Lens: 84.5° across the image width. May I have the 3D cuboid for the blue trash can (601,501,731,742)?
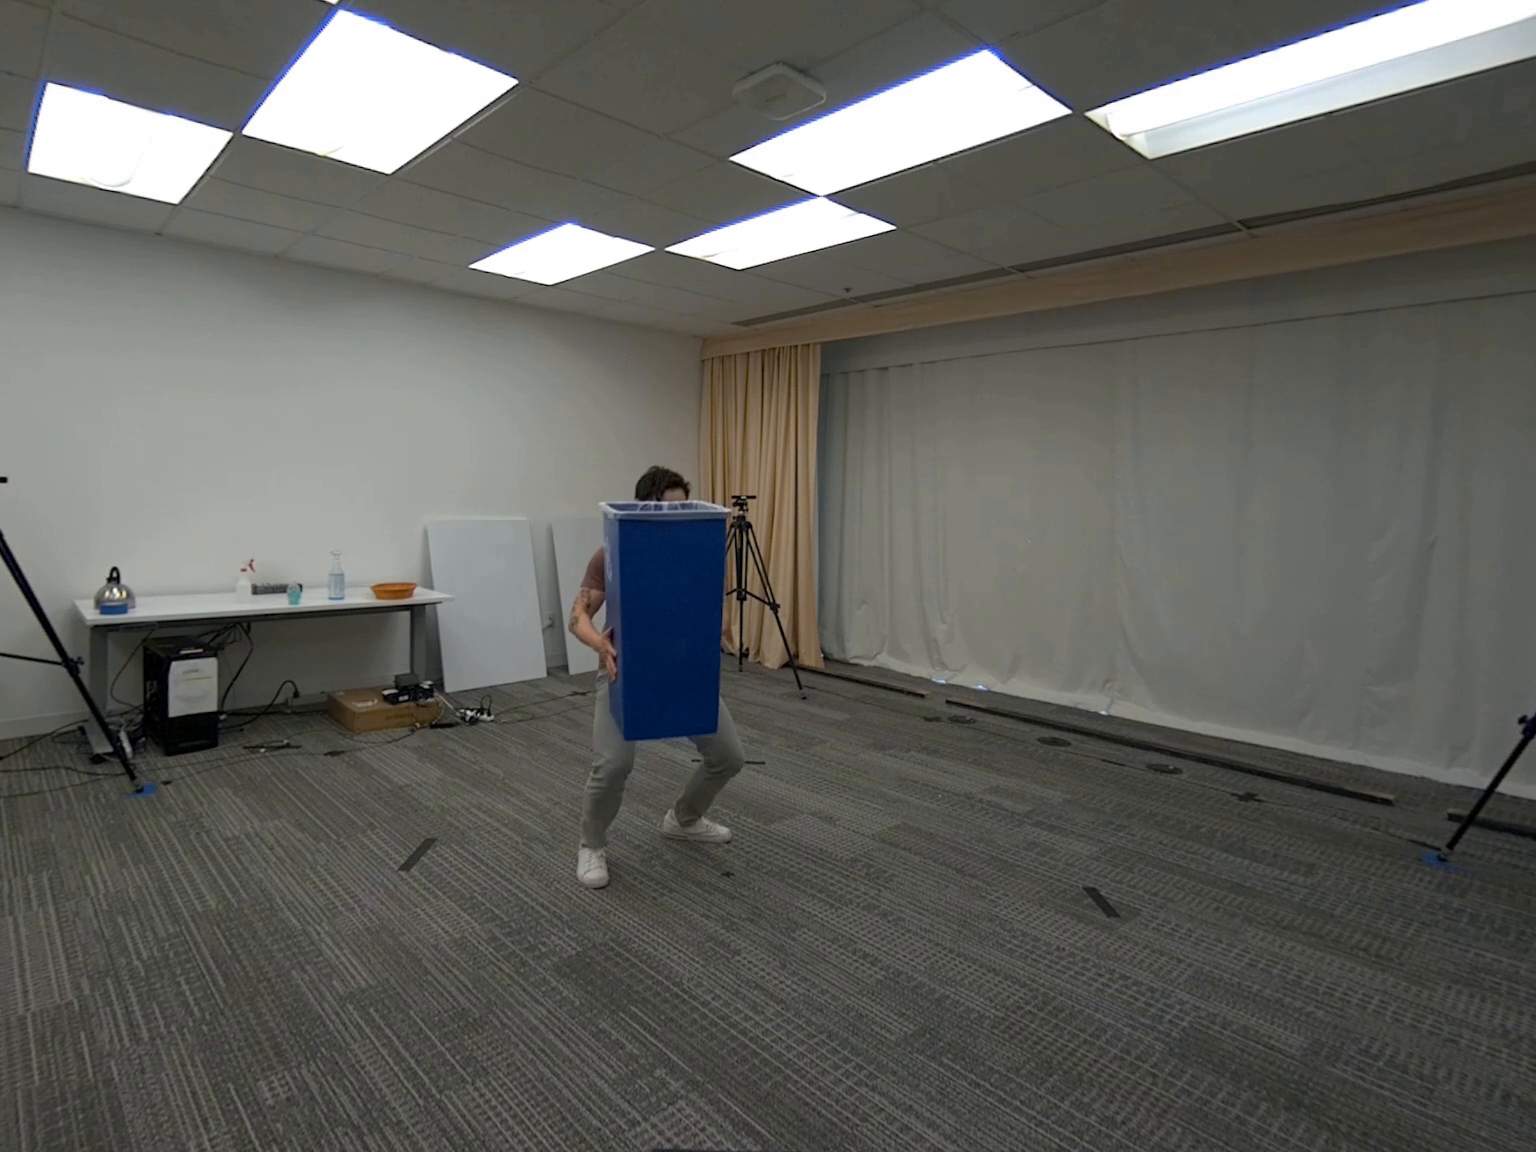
[{"bbox_3d":[-0.340,0.133,2.711,0.373,0.710,0.381,-1,7,-18],"label":"blue trash can"}]
